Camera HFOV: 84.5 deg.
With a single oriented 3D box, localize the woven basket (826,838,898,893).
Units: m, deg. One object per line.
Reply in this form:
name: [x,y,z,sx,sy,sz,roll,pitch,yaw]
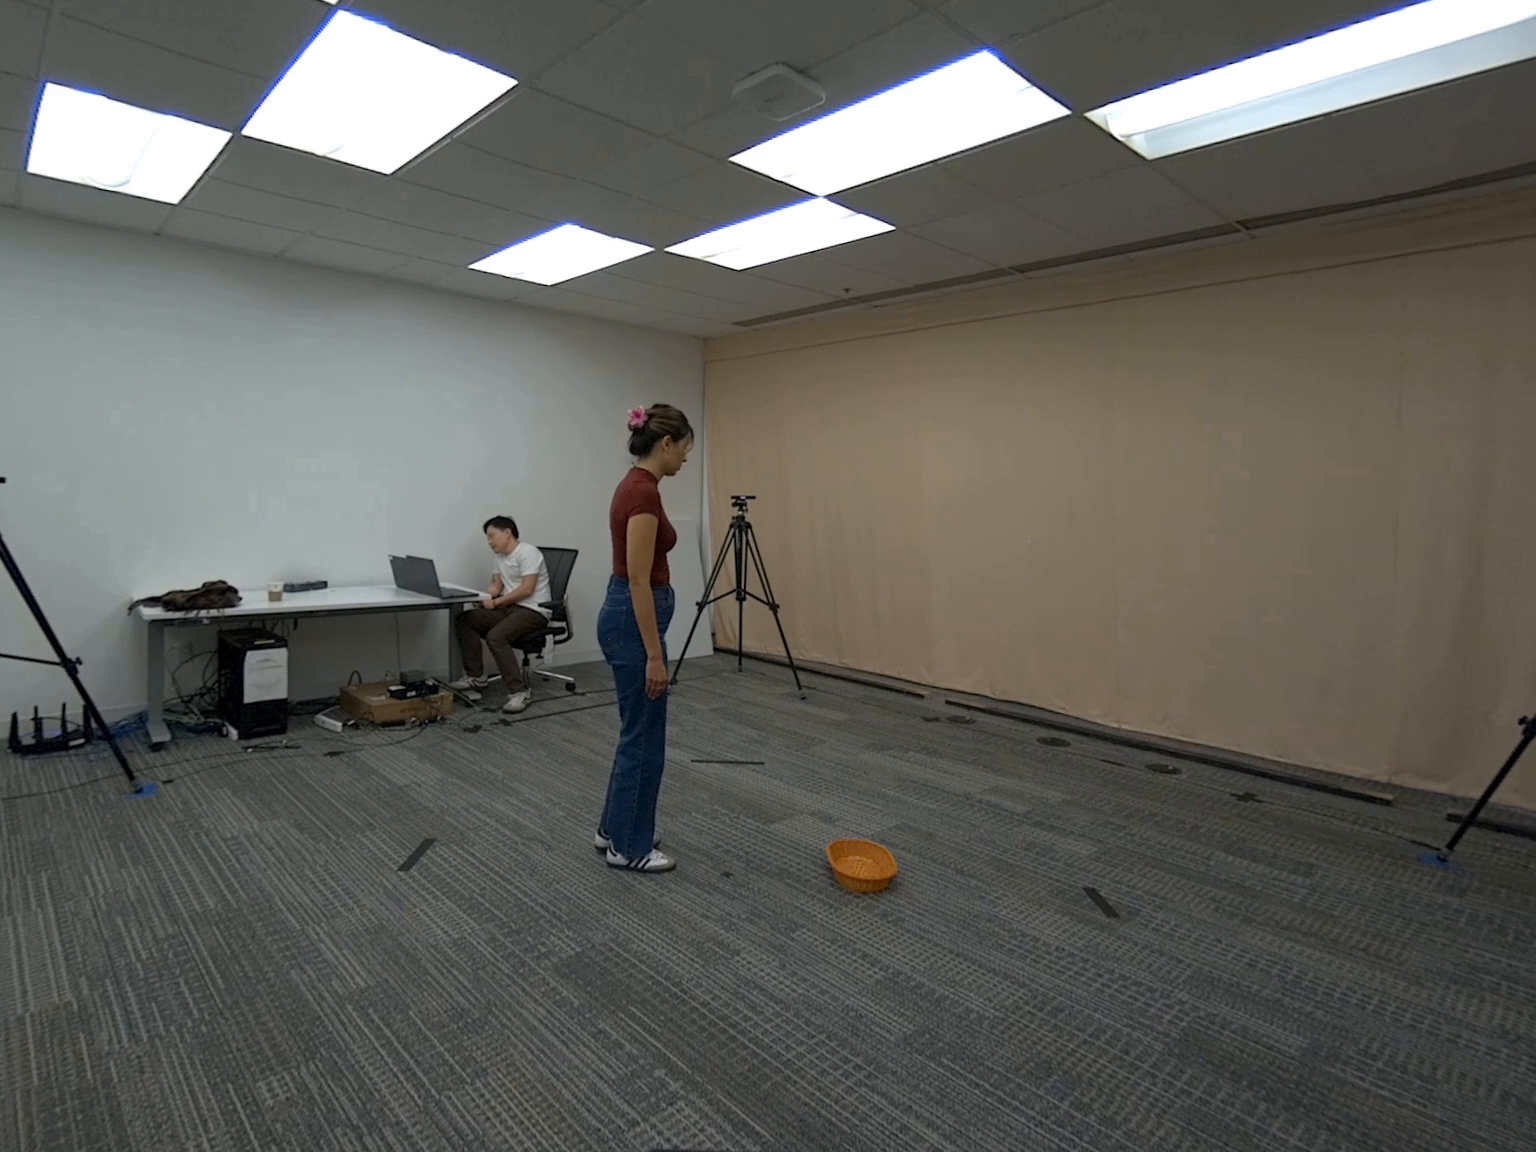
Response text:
woven basket: [0.330,1.068,3.115,0.252,0.073,0.352,2,5,-4]
